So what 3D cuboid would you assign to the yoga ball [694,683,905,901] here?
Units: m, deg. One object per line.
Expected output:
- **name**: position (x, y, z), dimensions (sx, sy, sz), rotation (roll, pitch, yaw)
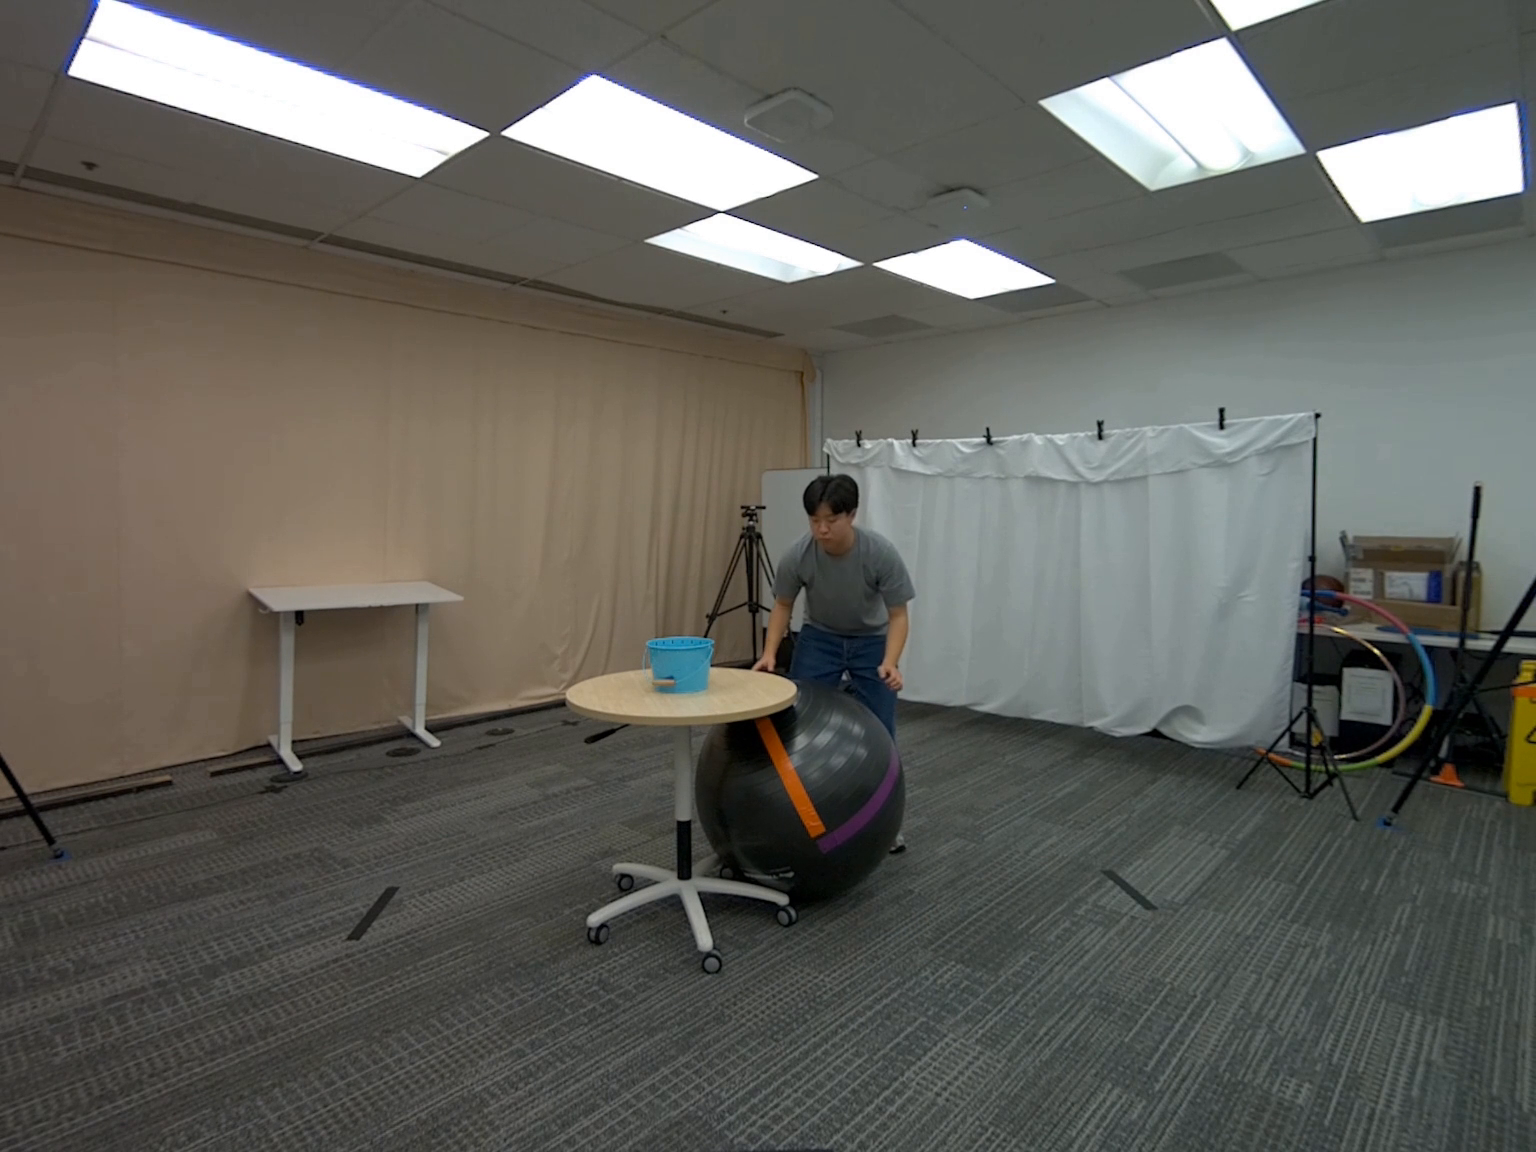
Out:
- **yoga ball**: position (0.126, 0.769, 3.055), dimensions (0.757, 0.756, 0.760), rotation (0, 4, -2)
